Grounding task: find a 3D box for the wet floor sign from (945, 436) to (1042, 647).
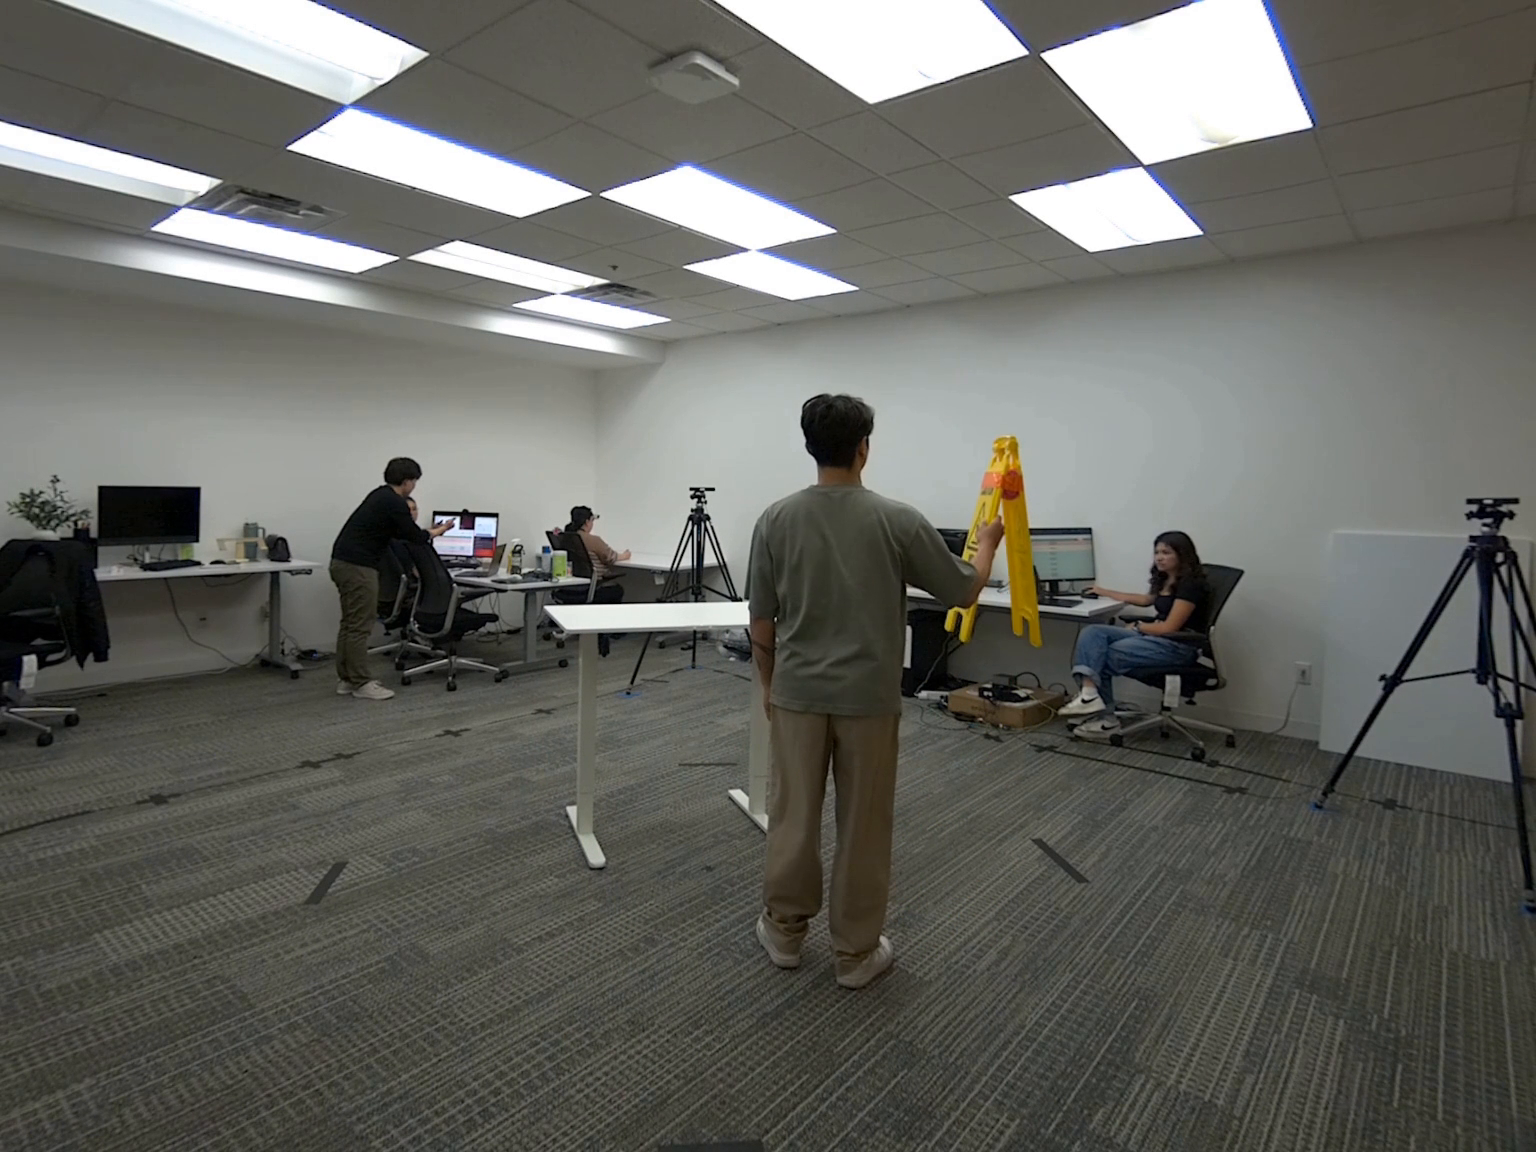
[{"bbox_3d":[0.744,-0.123,2.743,0.290,0.644,0.283,3,4,0],"label":"wet floor sign"}]
